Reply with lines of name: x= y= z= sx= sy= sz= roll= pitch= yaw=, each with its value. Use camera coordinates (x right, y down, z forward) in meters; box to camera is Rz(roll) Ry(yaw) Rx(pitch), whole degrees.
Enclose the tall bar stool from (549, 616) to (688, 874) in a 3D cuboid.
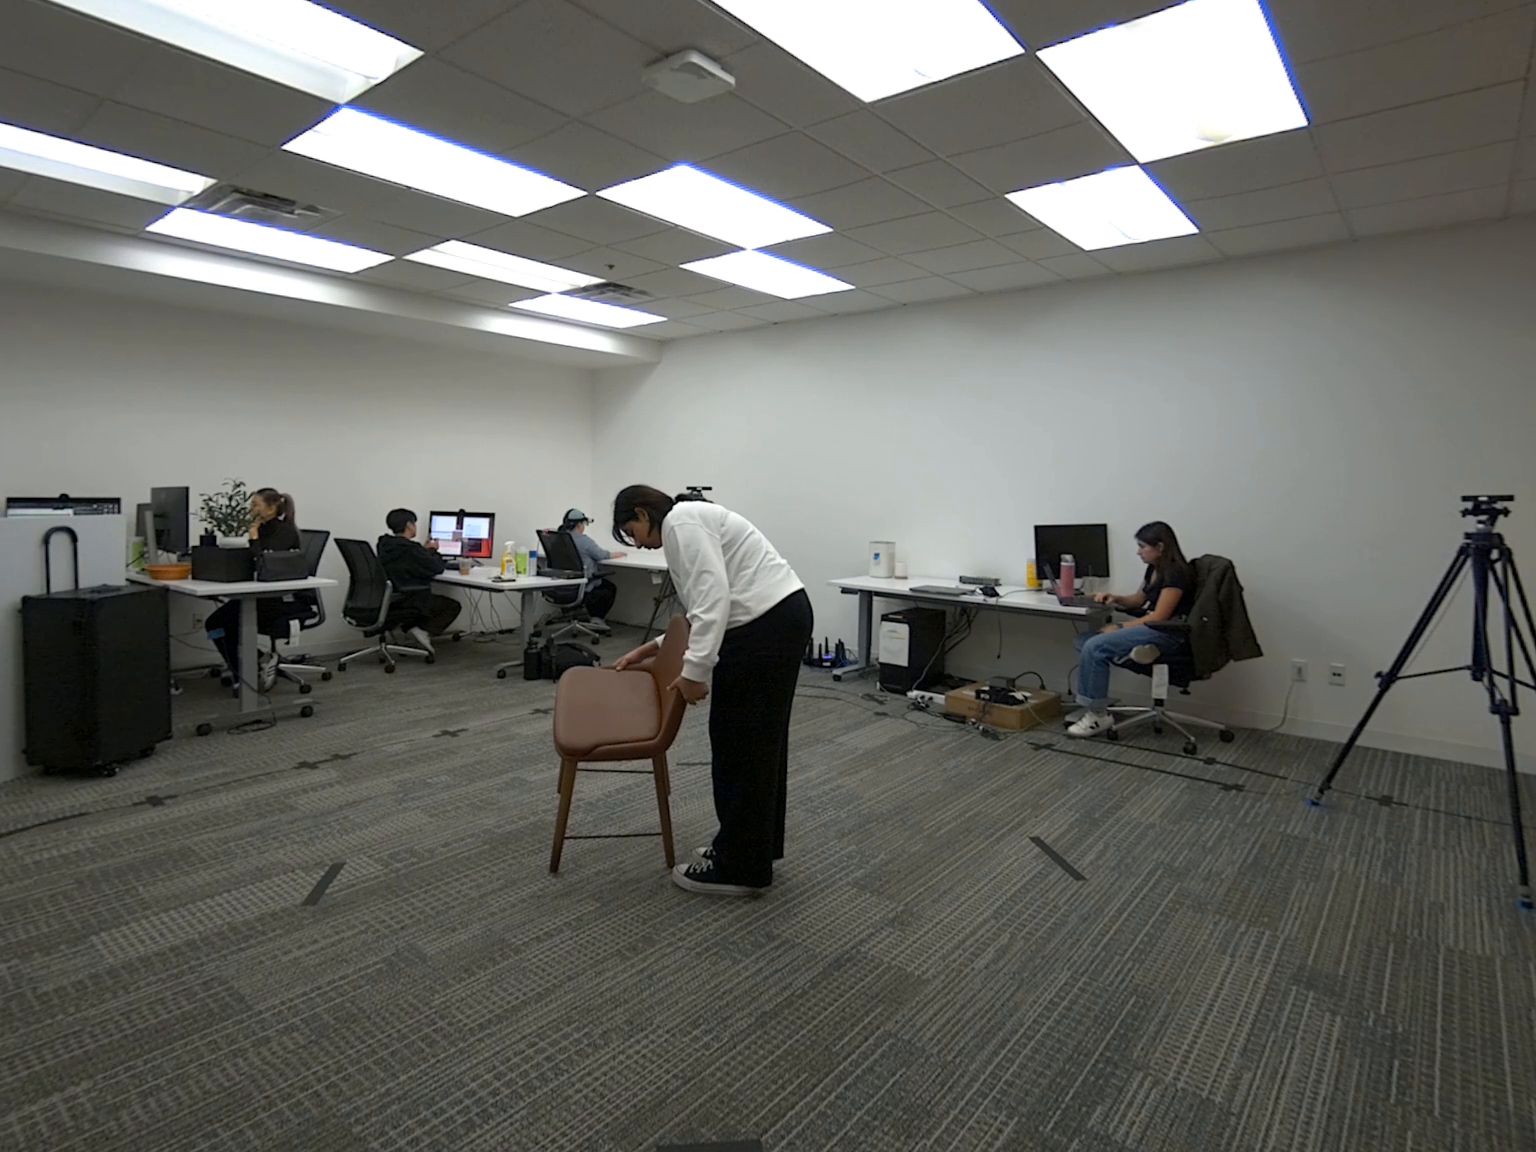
tall bar stool: x=-0.540 y=0.589 z=3.053 sx=0.462 sy=0.872 sz=0.471 roll=4 pitch=29 yaw=-11
